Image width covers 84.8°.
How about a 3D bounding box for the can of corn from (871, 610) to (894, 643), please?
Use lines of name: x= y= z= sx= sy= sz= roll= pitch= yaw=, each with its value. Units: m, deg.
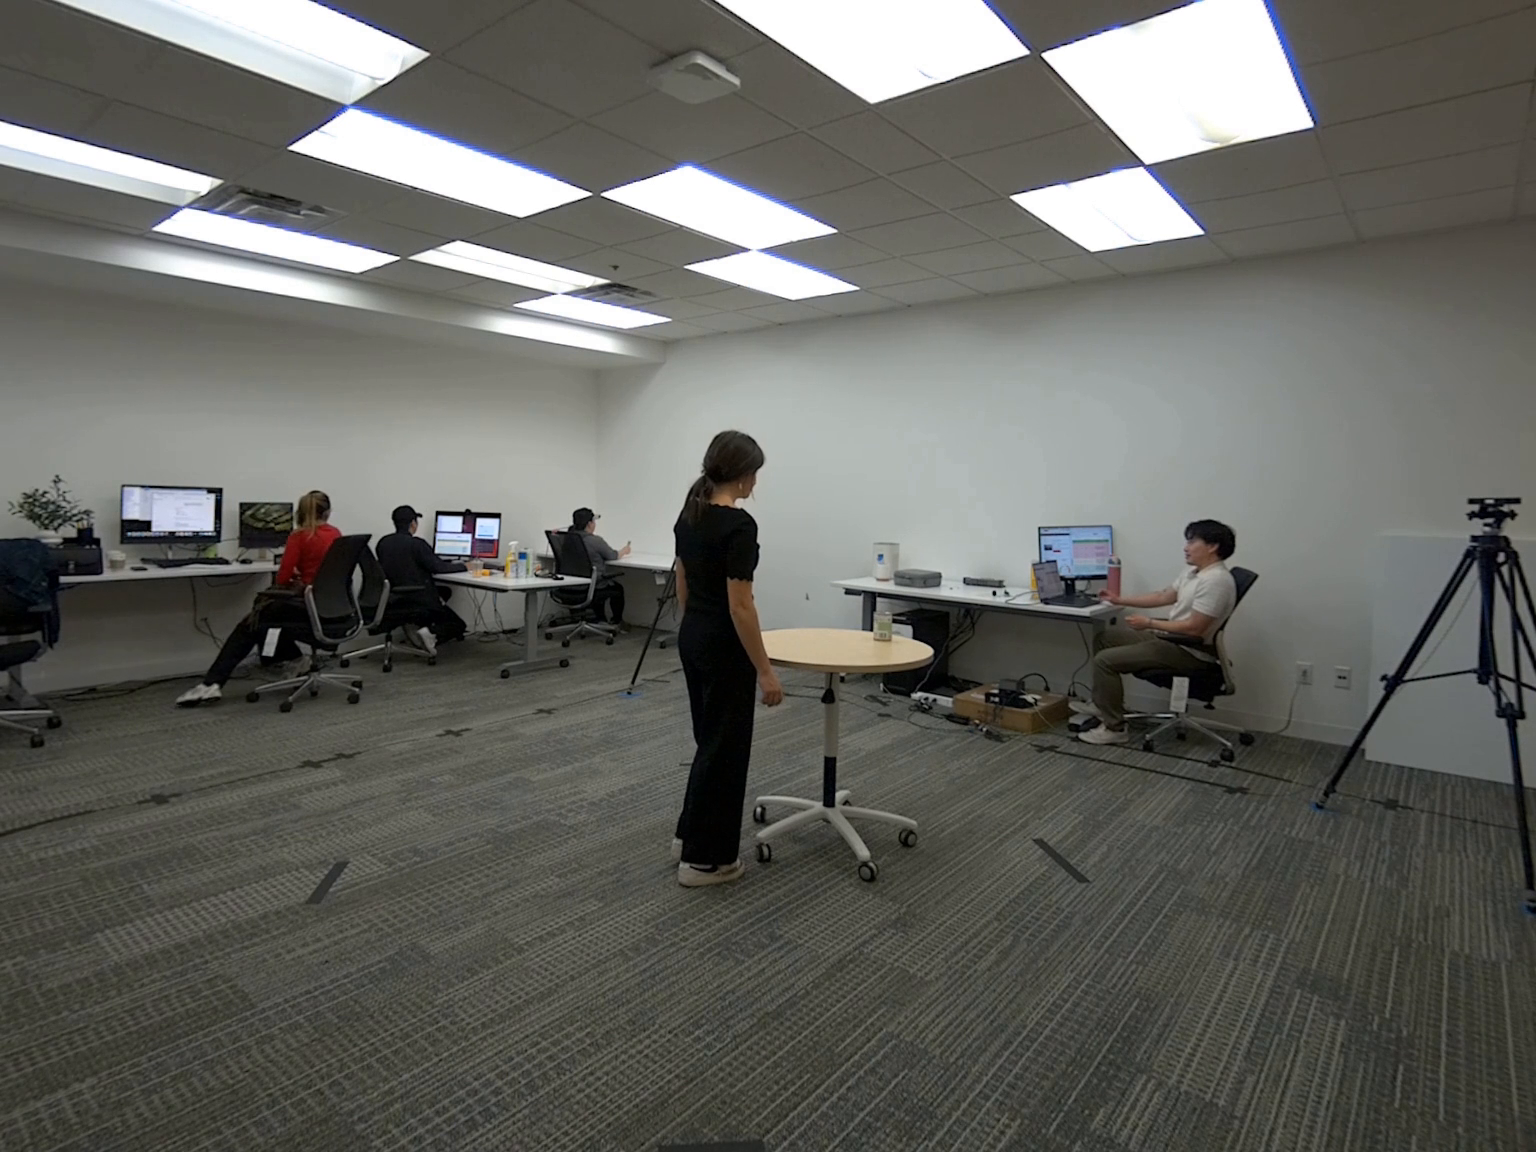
can of corn: x=0.461 y=0.203 z=3.478 sx=0.074 sy=0.111 sz=0.074 roll=3 pitch=3 yaw=-2
